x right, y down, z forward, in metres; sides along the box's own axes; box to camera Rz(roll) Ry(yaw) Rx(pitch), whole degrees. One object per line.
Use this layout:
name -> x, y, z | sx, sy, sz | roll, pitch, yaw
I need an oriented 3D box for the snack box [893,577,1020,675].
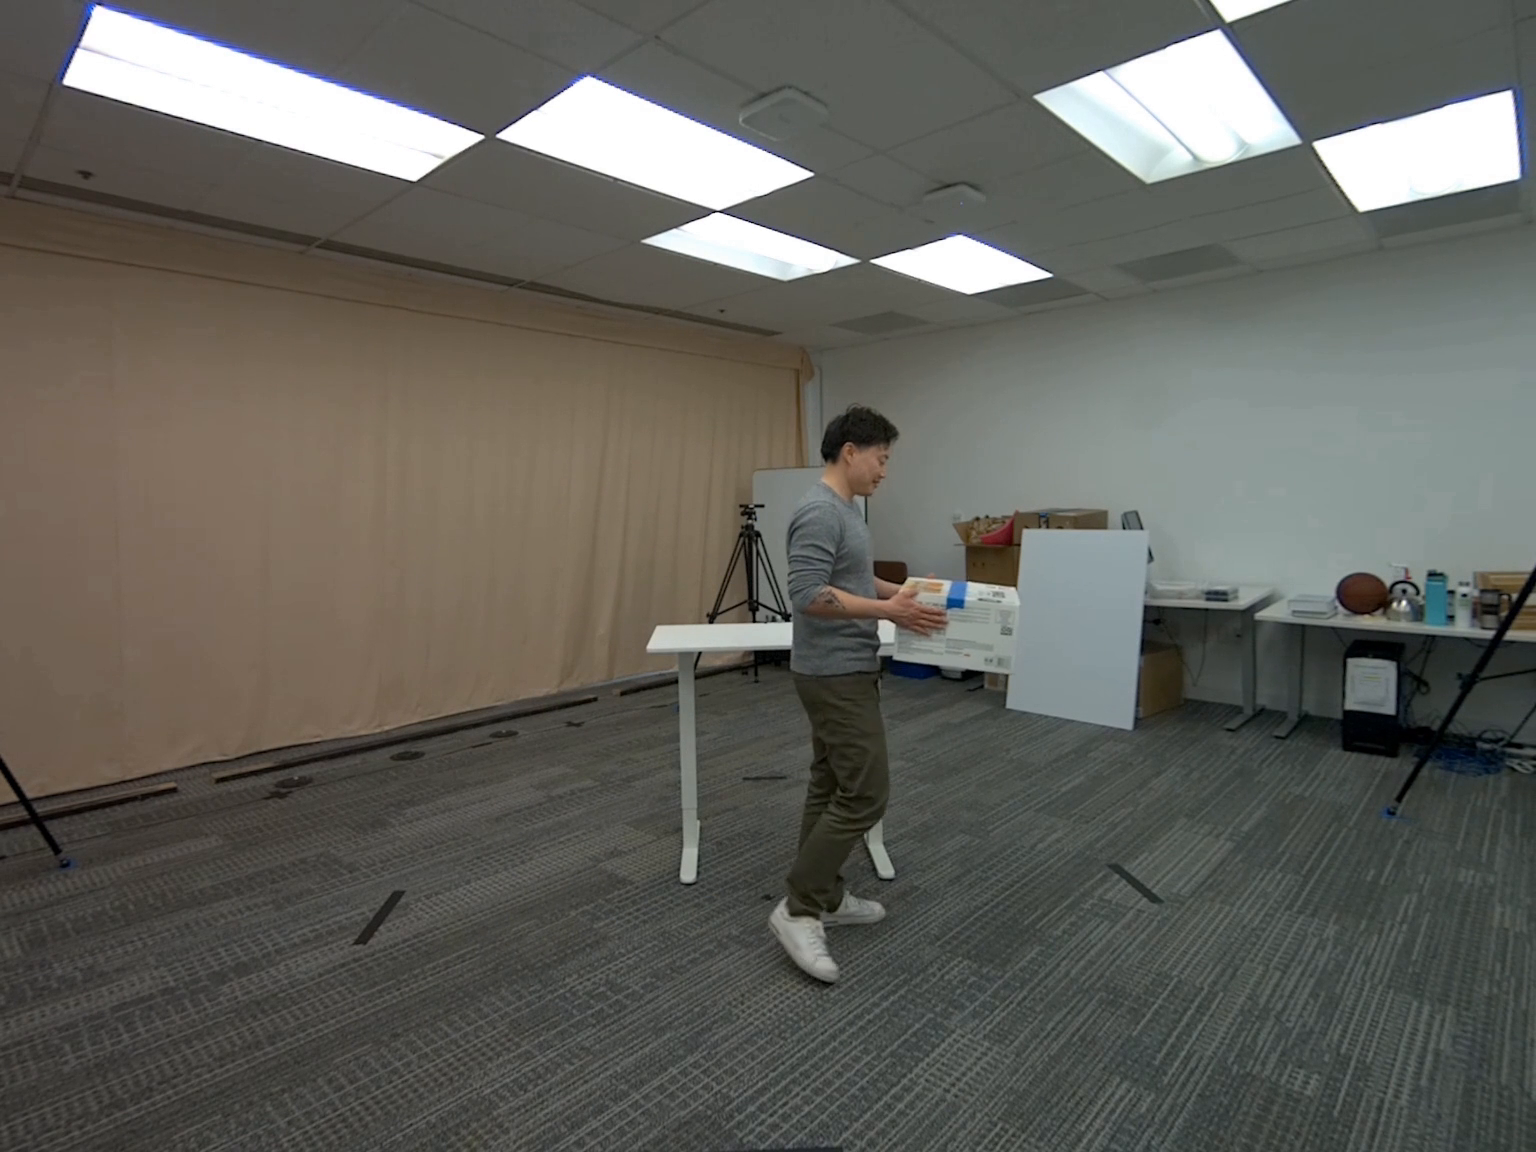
snack box -> 0.585, 0.145, 2.586 | 0.347, 0.205, 0.399 | 5, 7, 16
